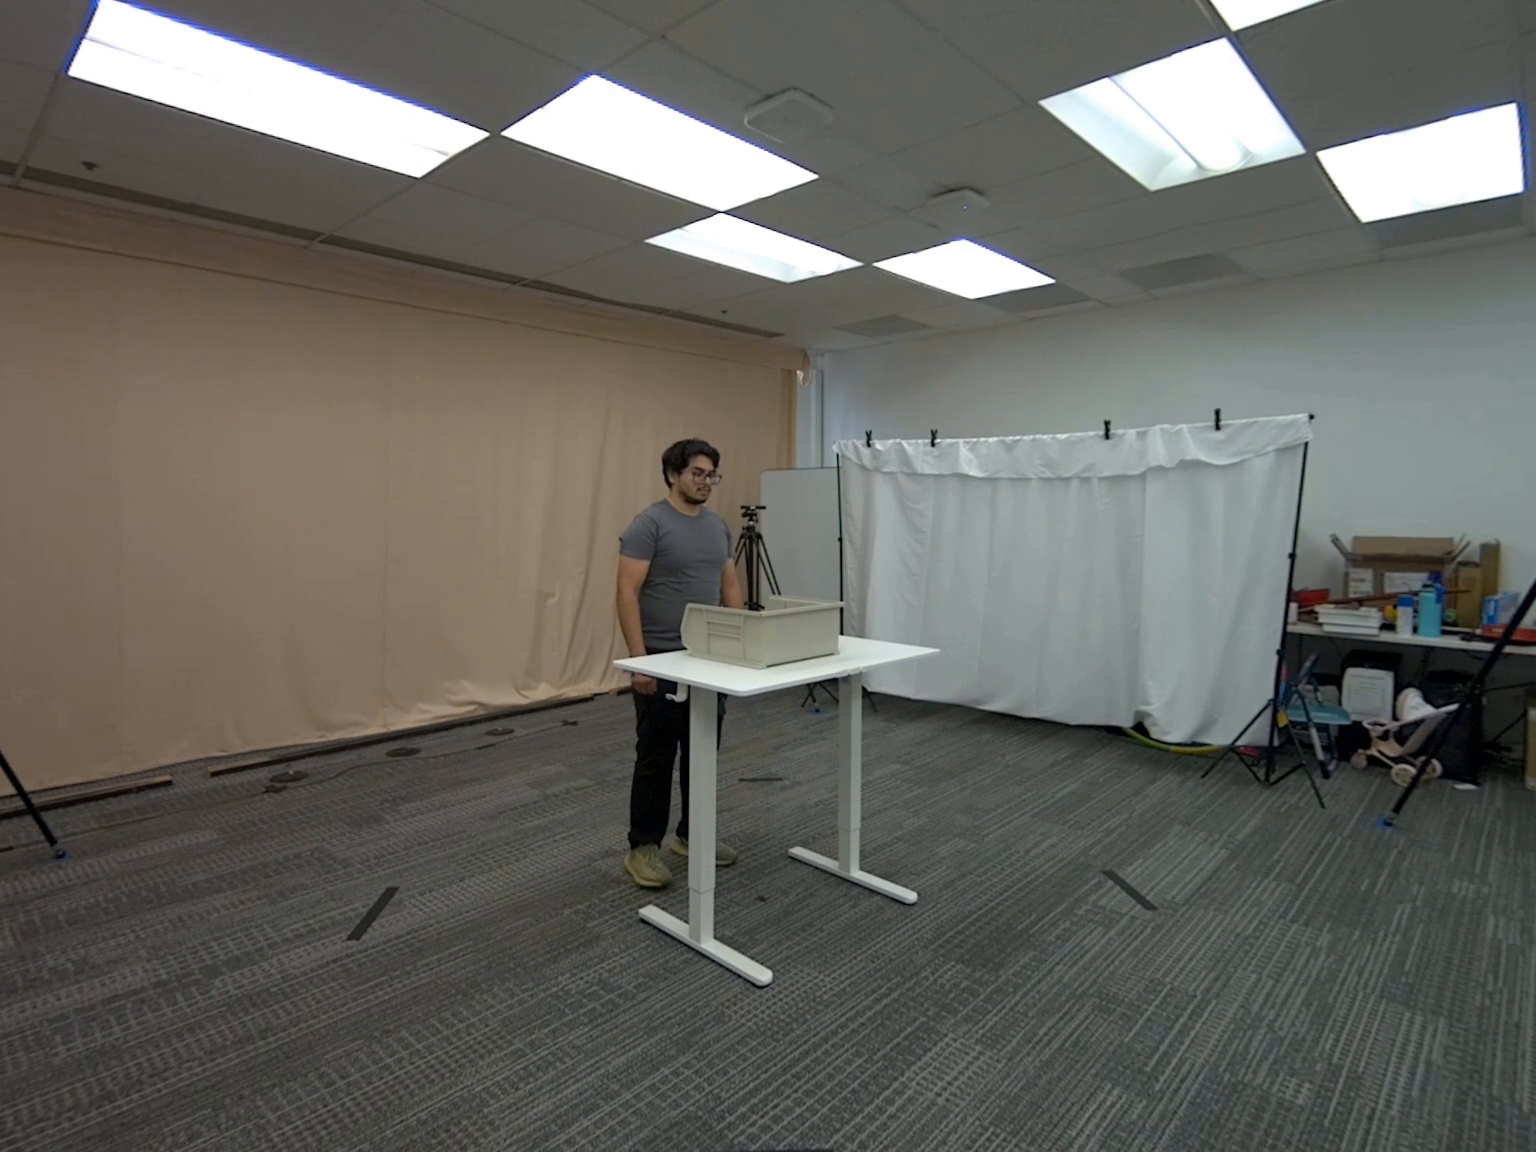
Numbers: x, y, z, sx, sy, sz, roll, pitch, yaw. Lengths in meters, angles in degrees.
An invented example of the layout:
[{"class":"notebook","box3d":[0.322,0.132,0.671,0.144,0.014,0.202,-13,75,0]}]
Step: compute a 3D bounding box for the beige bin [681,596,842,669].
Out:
[{"class":"beige bin","box3d":[-0.015,0.182,2.866,0.390,0.188,0.409,6,7,43]}]
